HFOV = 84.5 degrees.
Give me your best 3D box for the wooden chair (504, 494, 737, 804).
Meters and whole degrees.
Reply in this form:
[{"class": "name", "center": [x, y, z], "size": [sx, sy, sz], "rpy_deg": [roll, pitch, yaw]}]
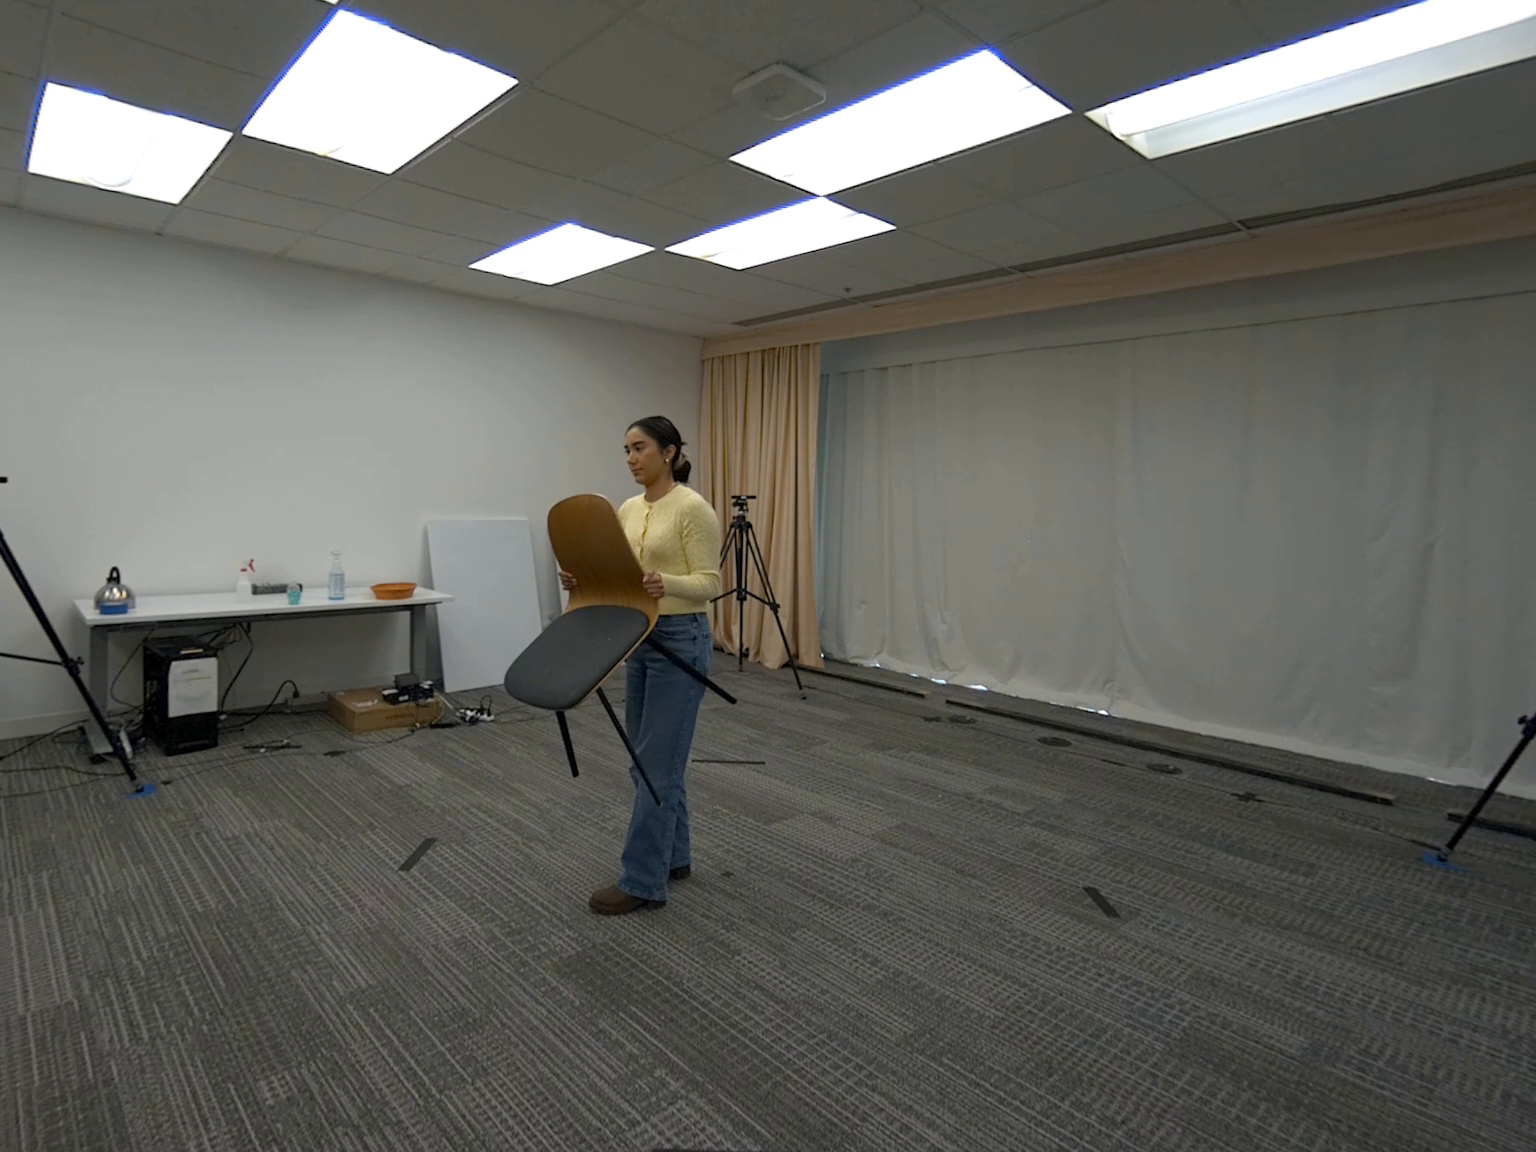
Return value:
[{"class": "wooden chair", "center": [-0.573, 0.244, 2.701], "size": [0.490, 0.858, 0.522], "rpy_deg": [2, 35, 43]}]
